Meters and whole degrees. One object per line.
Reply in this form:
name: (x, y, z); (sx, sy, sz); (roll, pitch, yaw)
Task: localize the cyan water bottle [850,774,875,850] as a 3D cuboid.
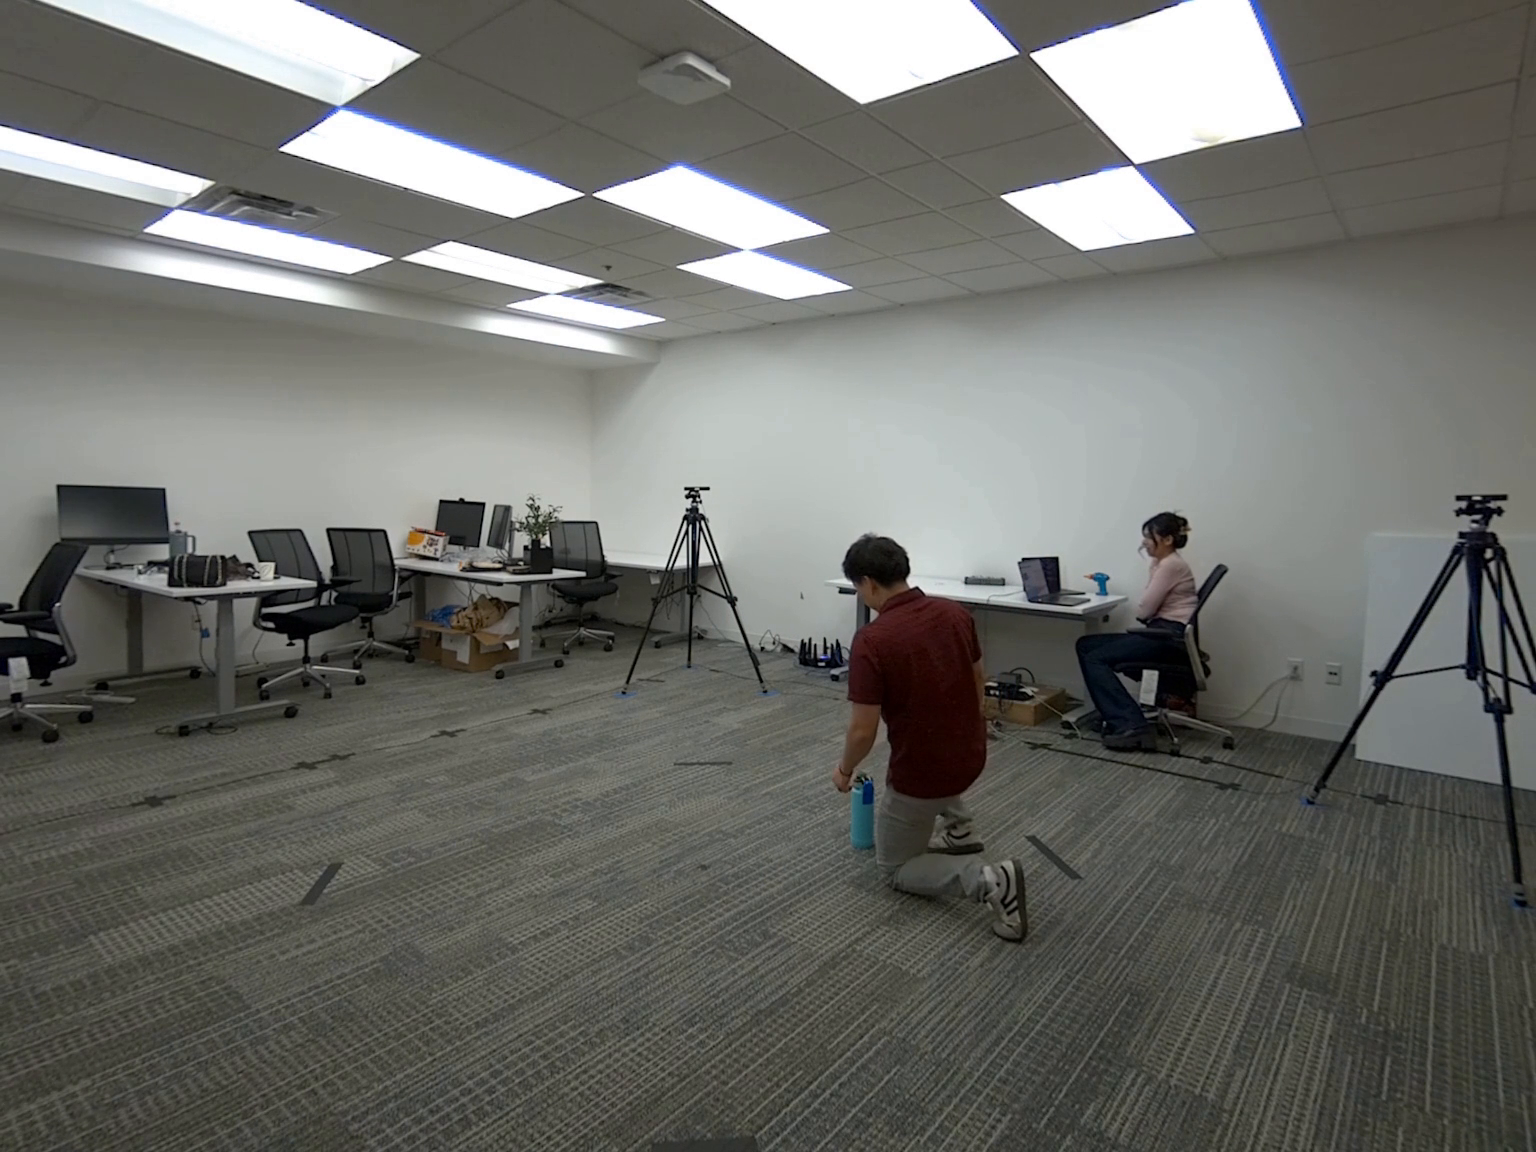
cyan water bottle: (0.370, 0.916, 3.349); (0.092, 0.282, 0.093); (2, 4, -2)
